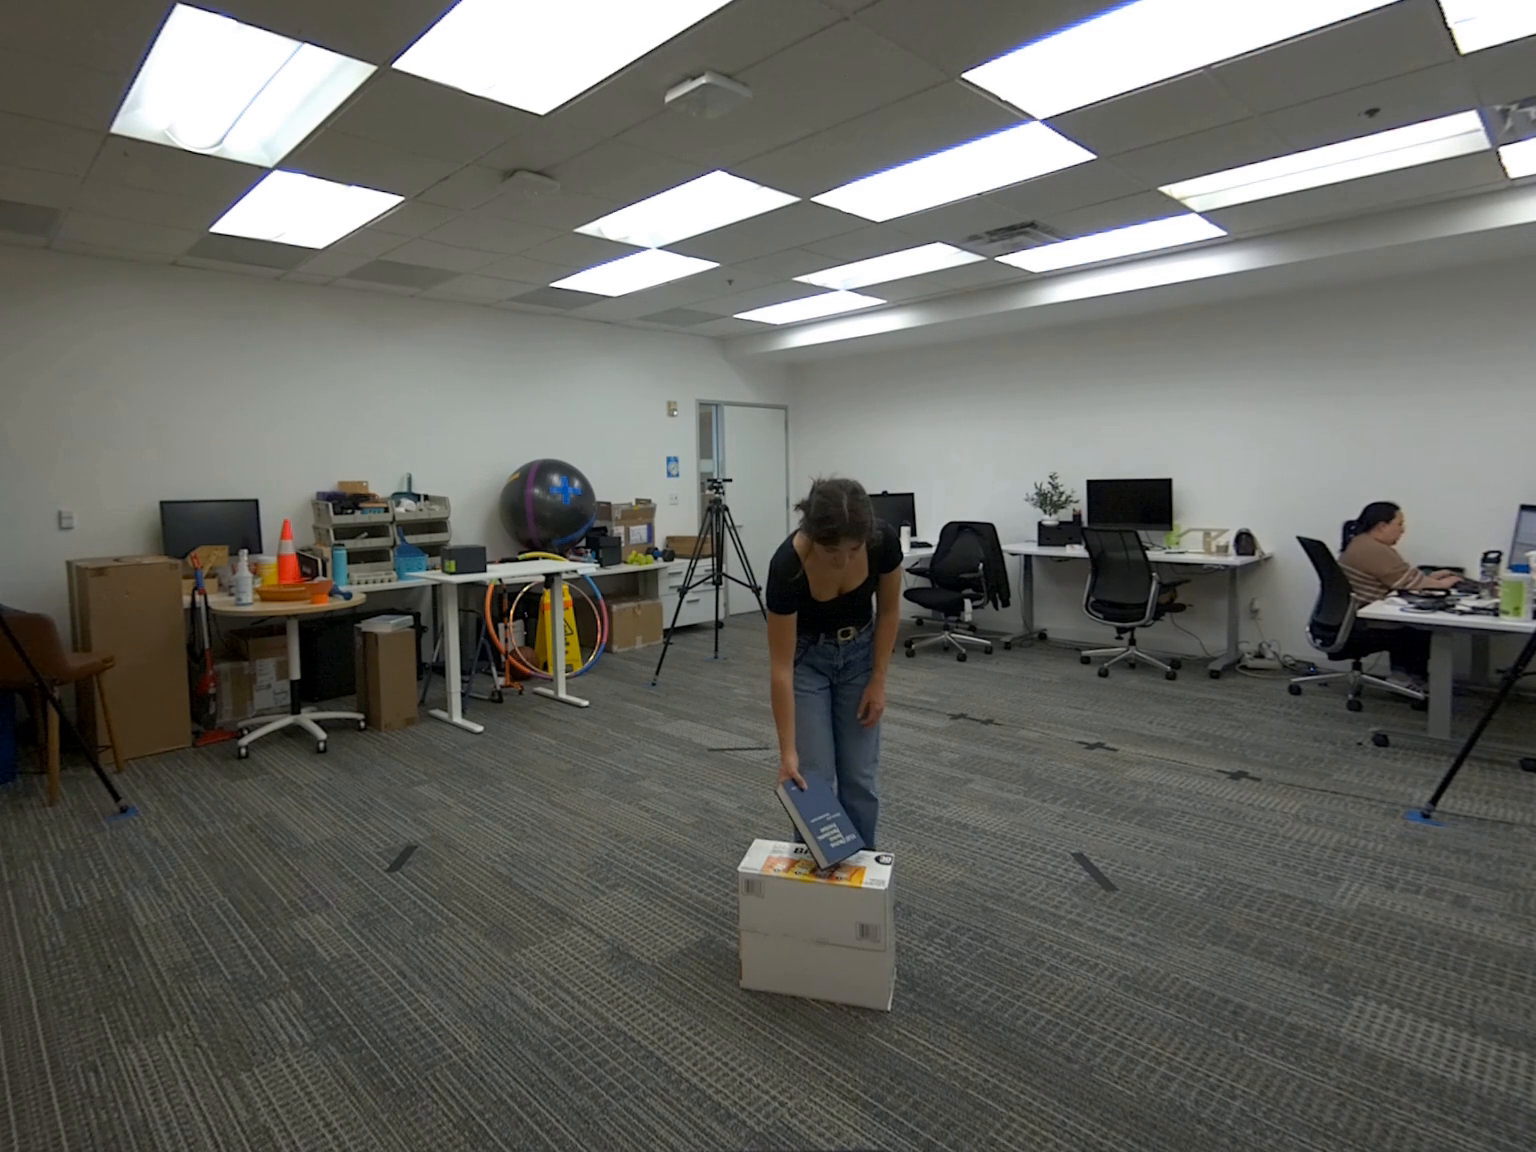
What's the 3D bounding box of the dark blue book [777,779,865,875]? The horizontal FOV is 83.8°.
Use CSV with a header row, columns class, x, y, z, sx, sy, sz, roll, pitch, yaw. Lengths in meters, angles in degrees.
class,x,y,z,sx,sy,sz,roll,pitch,yaw
dark blue book,0.147,0.667,2.351,0.159,0.253,0.045,-6,-37,-43
